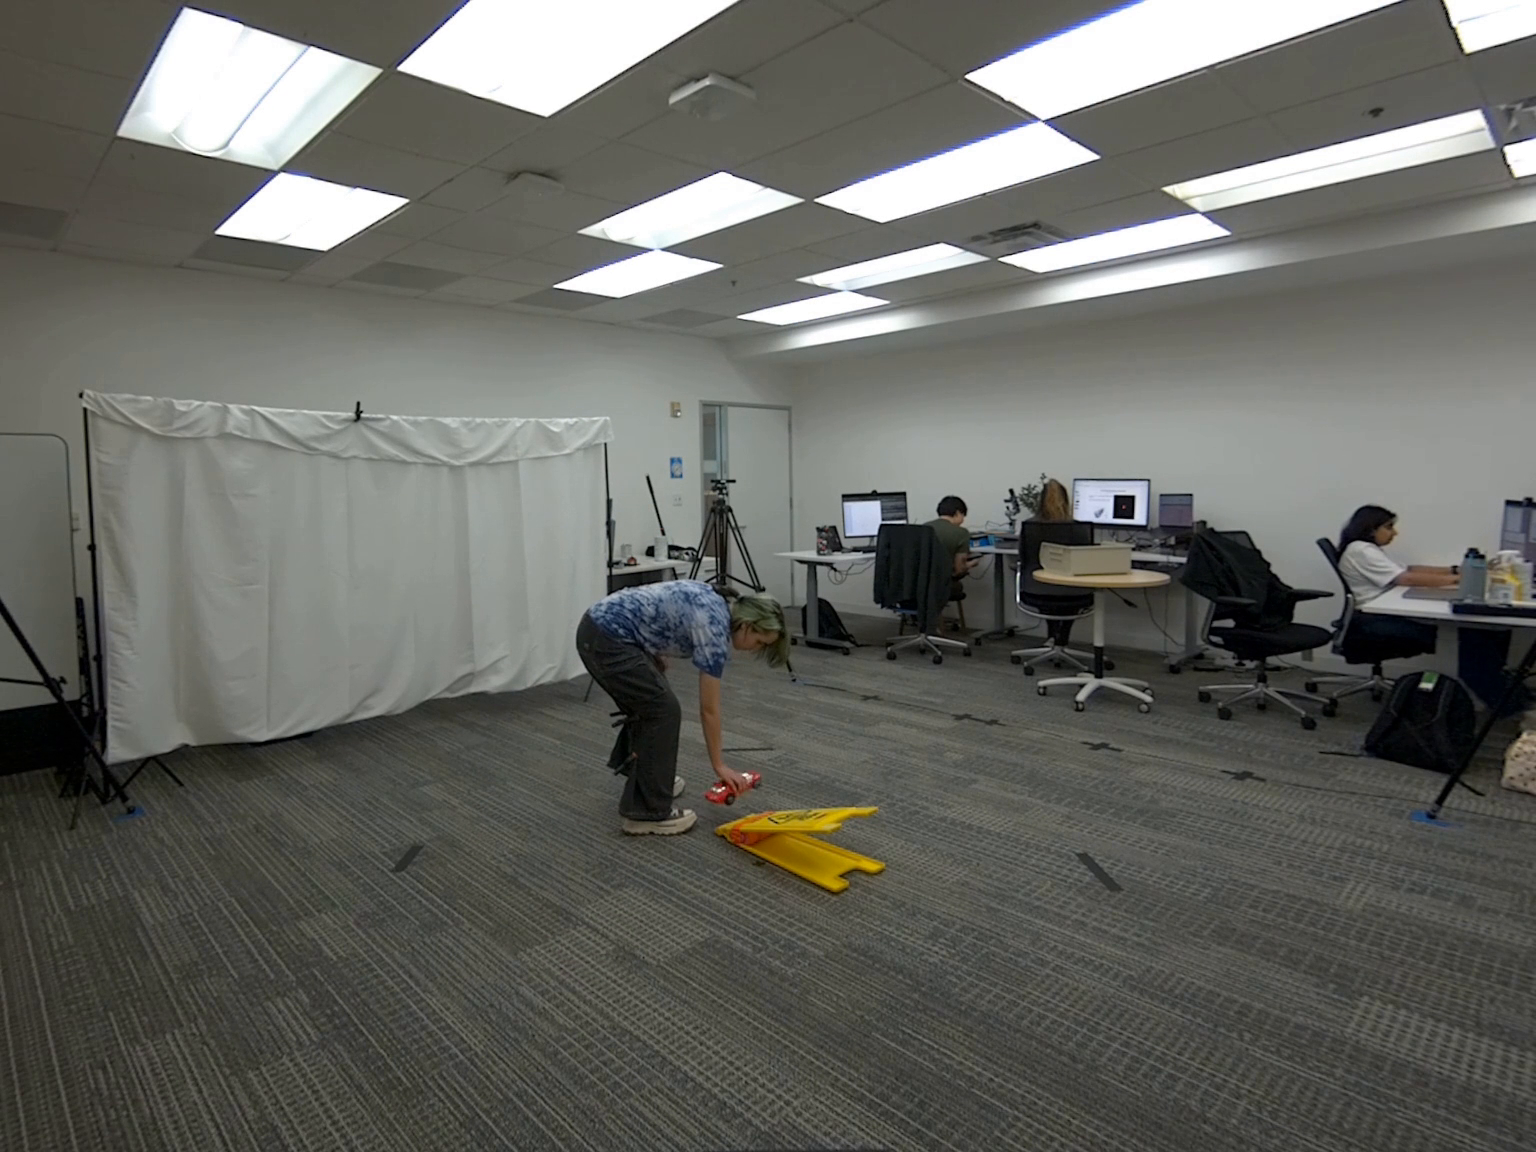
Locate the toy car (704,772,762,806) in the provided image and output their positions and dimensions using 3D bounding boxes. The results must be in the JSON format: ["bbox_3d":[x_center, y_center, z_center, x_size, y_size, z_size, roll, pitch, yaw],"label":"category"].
[{"bbox_3d":[-0.156,0.877,3.496,0.248,0.083,0.134,-9,8,-36],"label":"toy car"}]
